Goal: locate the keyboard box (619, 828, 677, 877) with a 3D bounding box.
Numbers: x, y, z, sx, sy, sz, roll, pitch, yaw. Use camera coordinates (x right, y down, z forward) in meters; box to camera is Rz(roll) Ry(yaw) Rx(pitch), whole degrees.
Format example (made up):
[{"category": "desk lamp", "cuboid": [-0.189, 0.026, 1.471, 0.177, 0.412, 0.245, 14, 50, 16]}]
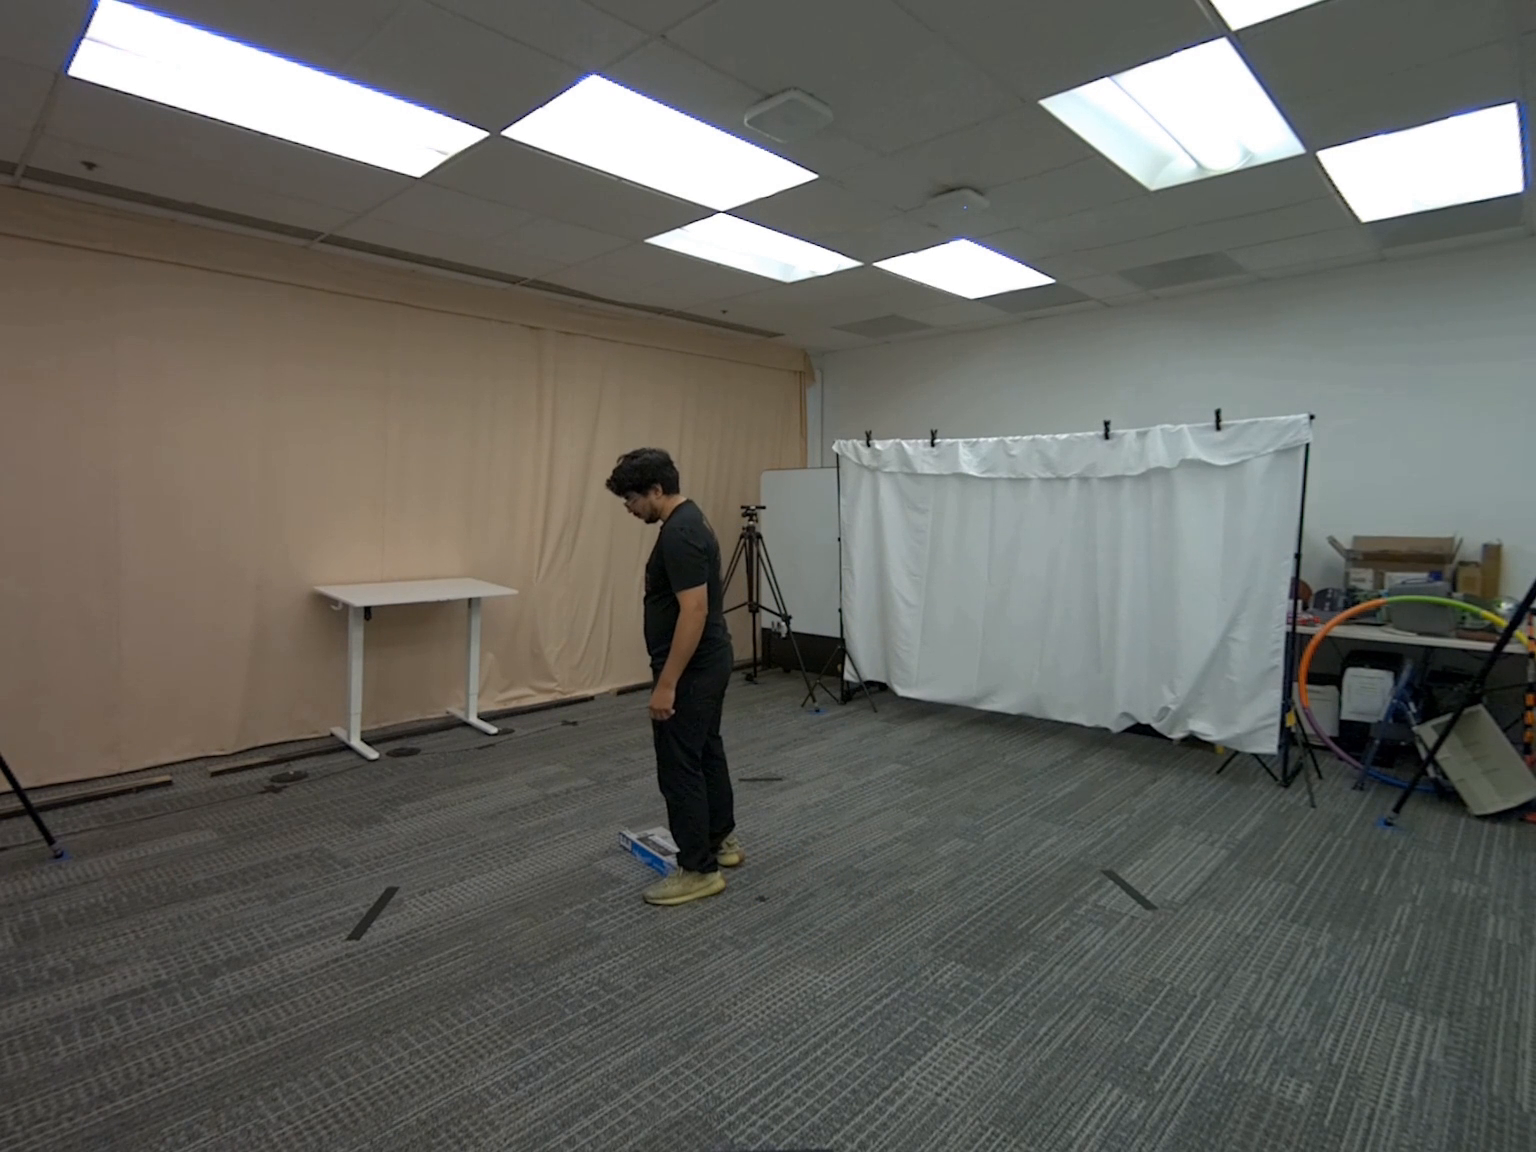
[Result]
[{"category": "keyboard box", "cuboid": [-0.415, 1.086, 3.329, 0.171, 0.059, 0.451, -4, 6, -36]}]
